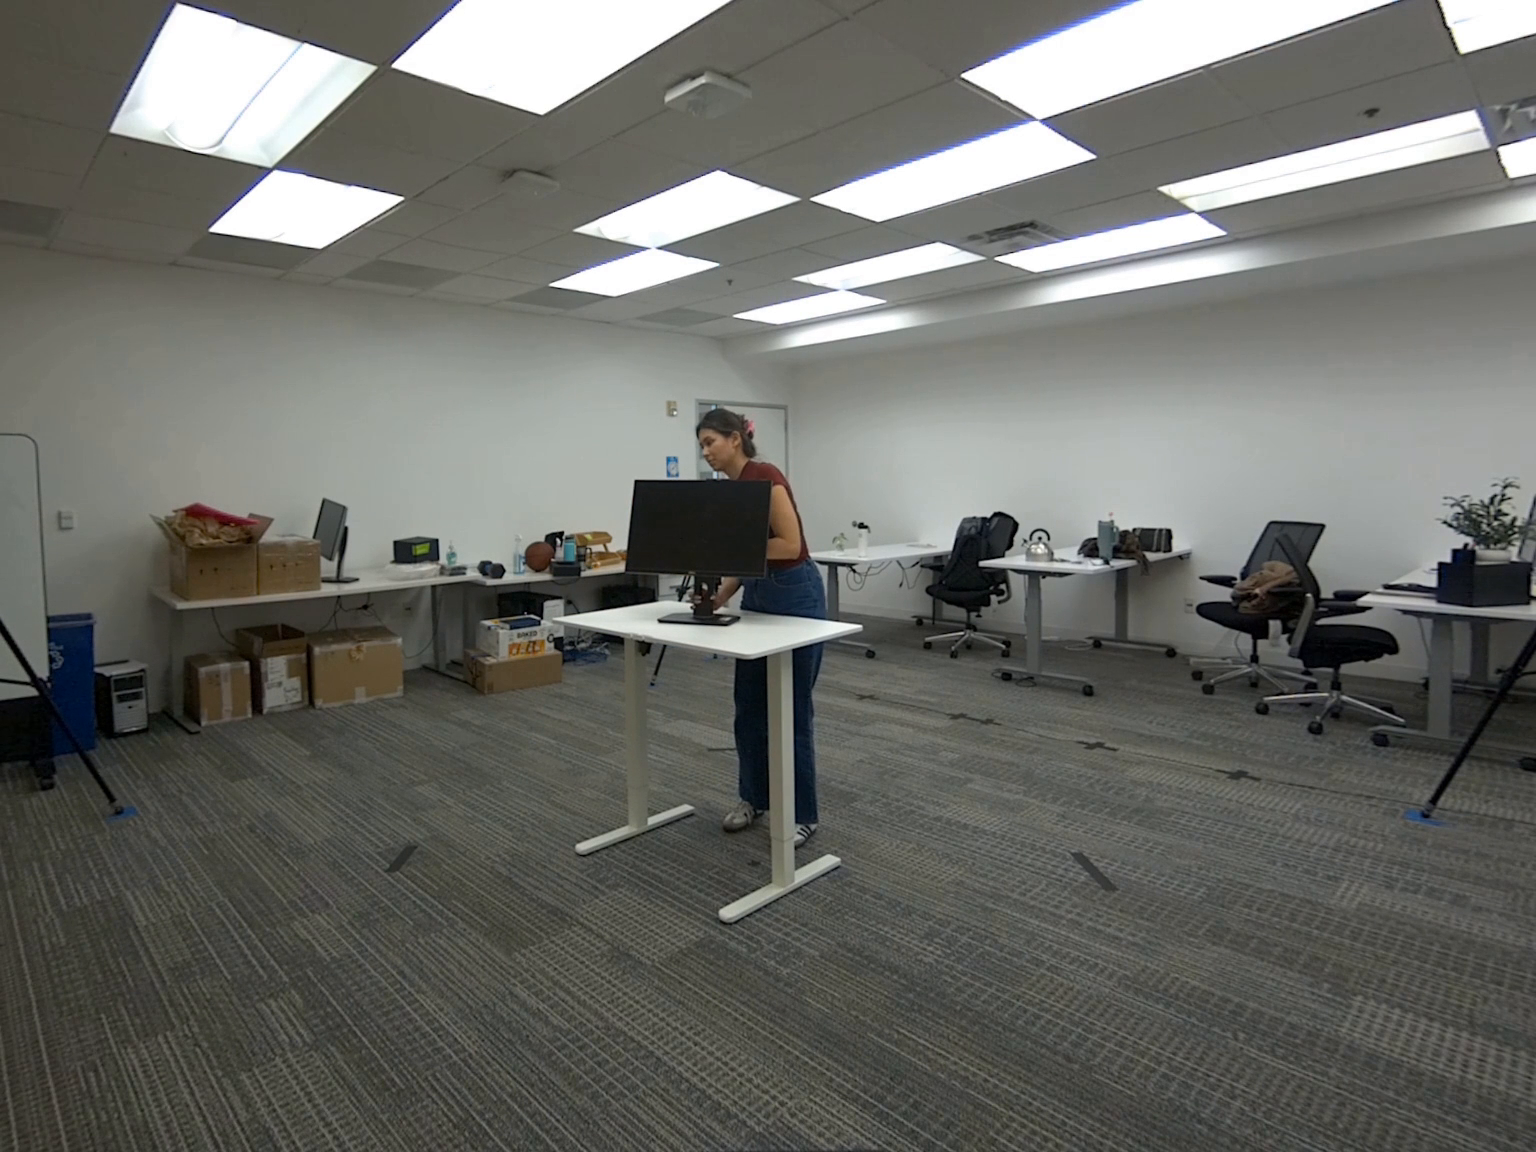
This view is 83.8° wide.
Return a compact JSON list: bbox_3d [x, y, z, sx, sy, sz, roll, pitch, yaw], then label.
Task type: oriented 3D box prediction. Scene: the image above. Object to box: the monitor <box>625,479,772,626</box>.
[{"bbox_3d":[-0.241,-0.090,3.115,0.548,0.520,0.185,2,4,16],"label":"monitor"}]
